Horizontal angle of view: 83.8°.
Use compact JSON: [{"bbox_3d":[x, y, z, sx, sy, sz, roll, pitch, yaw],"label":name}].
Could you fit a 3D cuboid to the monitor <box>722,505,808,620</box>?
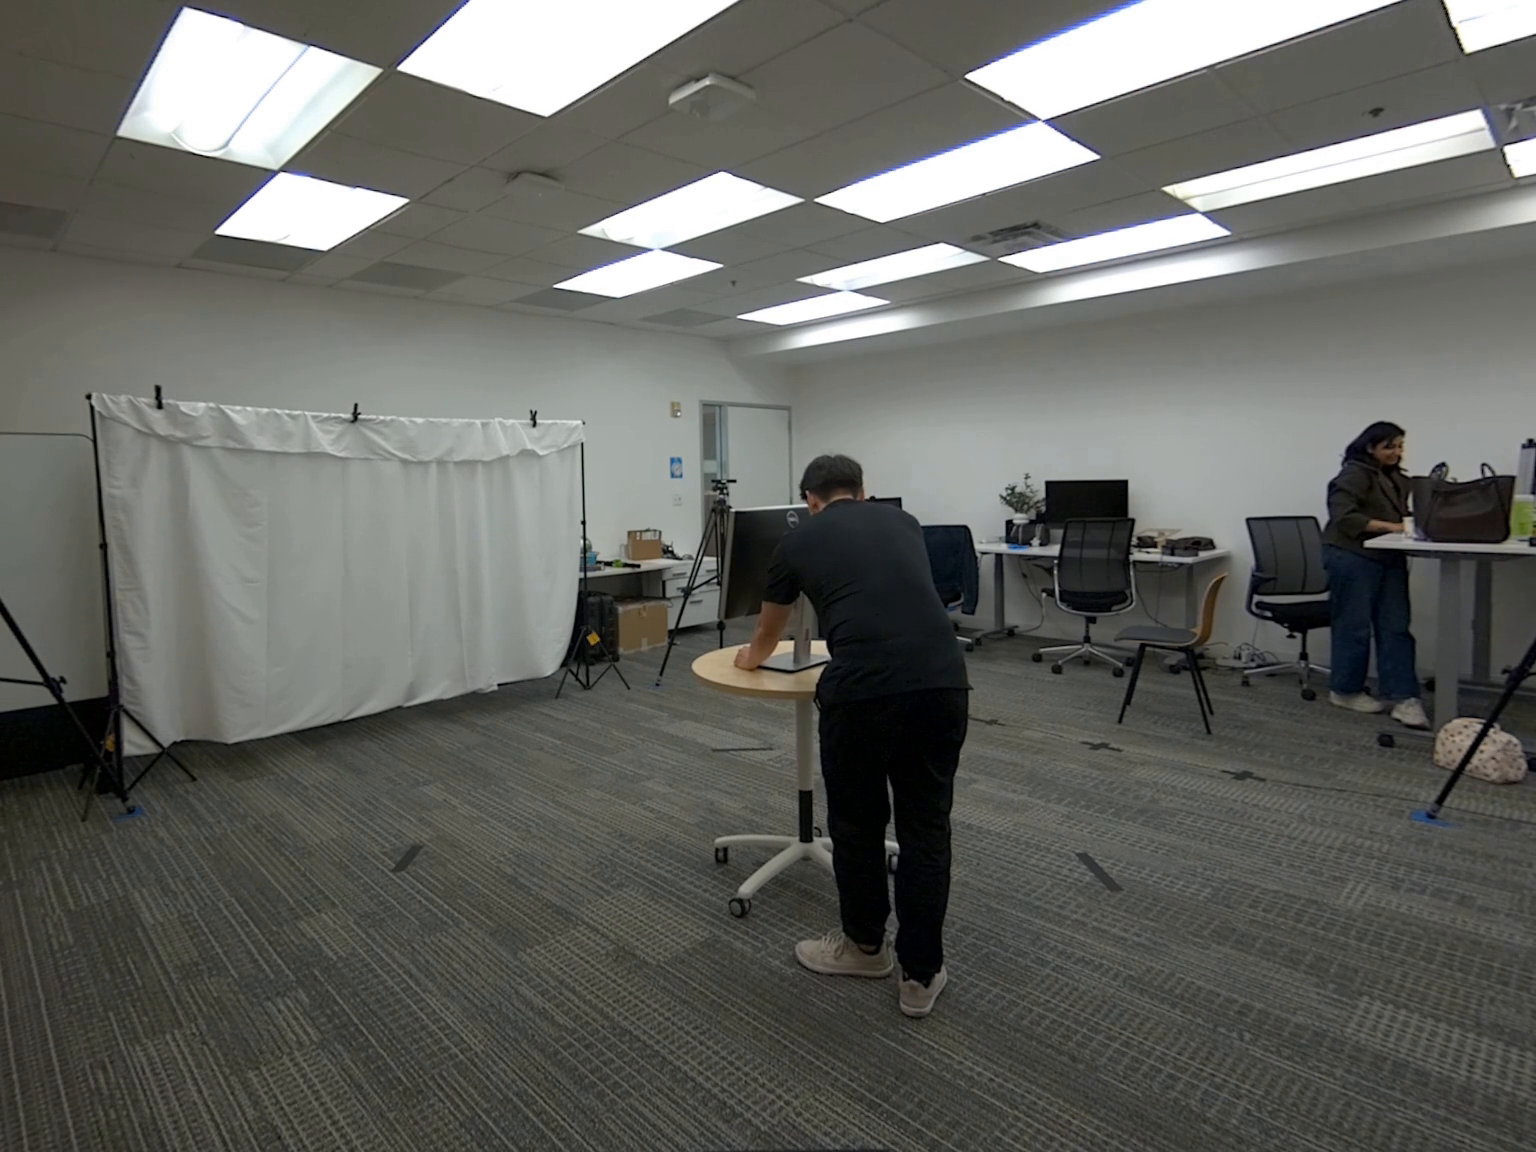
[{"bbox_3d":[0.077,0.032,2.908,0.192,0.522,0.525,-2,3,40],"label":"monitor"}]
